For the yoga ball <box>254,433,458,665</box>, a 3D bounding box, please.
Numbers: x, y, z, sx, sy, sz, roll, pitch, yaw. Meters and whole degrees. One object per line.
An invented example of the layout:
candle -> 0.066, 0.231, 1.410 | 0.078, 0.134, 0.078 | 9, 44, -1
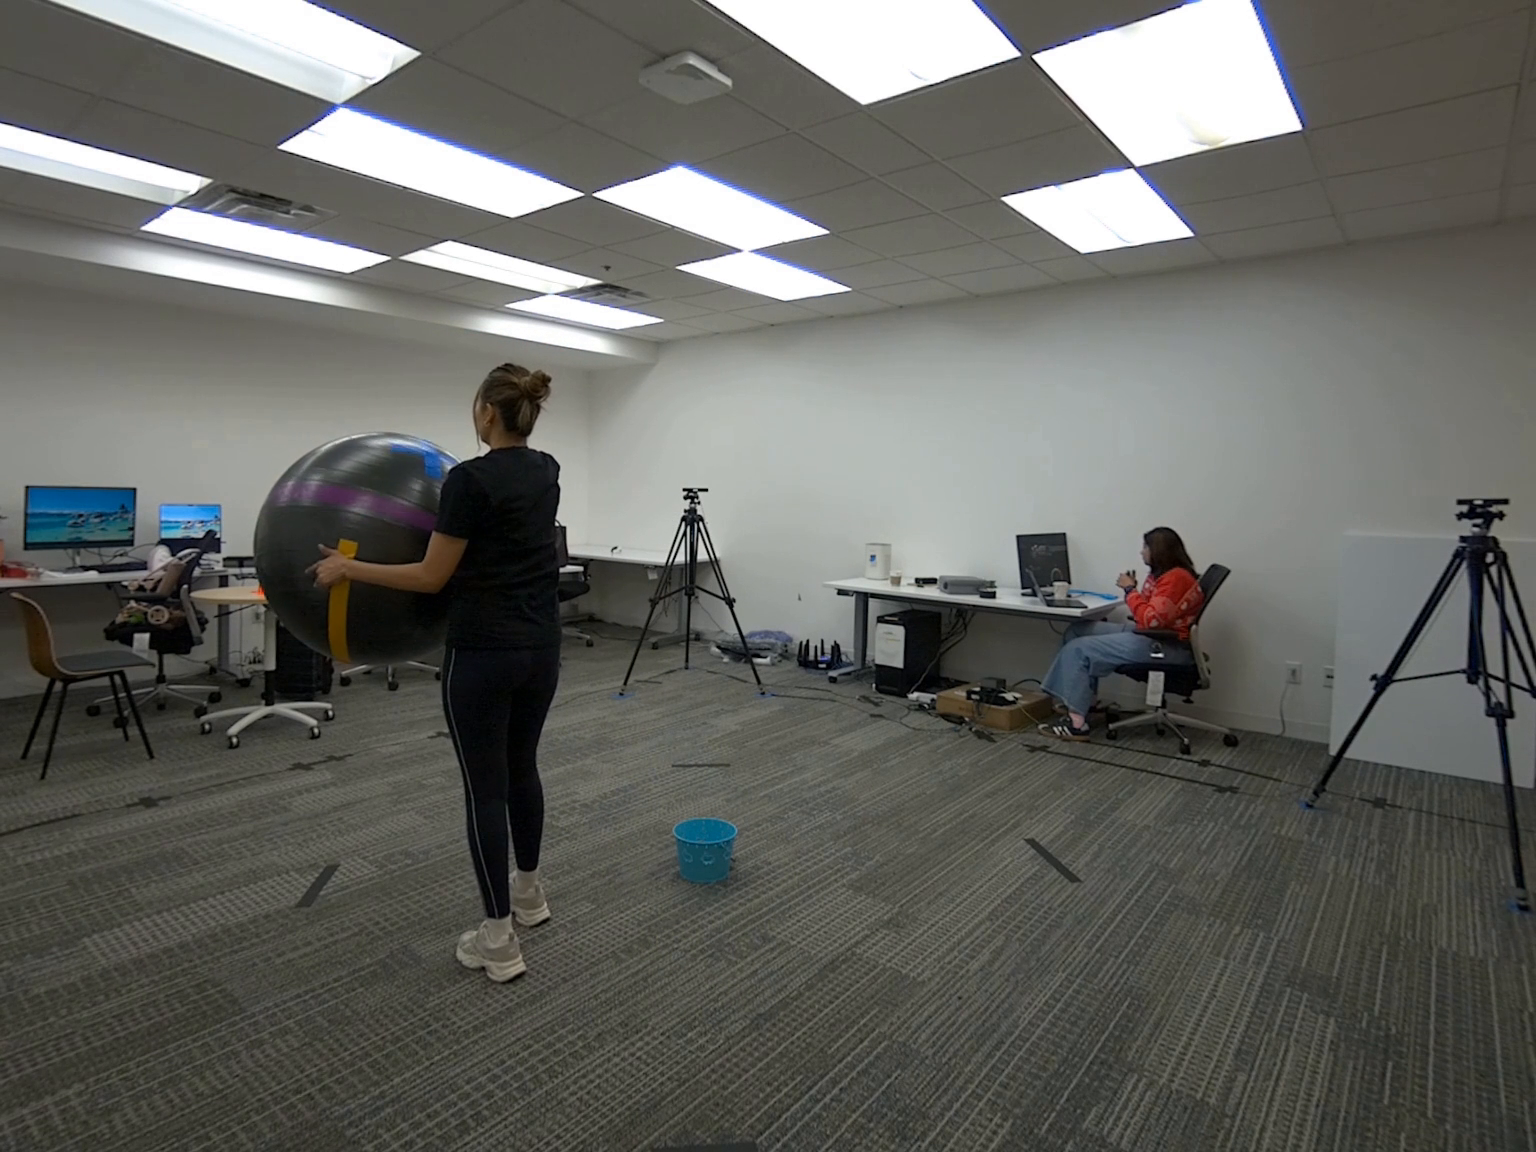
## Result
yoga ball -> -1.291, -0.089, 2.786 | 0.757, 0.756, 0.761 | 1, 4, -2
